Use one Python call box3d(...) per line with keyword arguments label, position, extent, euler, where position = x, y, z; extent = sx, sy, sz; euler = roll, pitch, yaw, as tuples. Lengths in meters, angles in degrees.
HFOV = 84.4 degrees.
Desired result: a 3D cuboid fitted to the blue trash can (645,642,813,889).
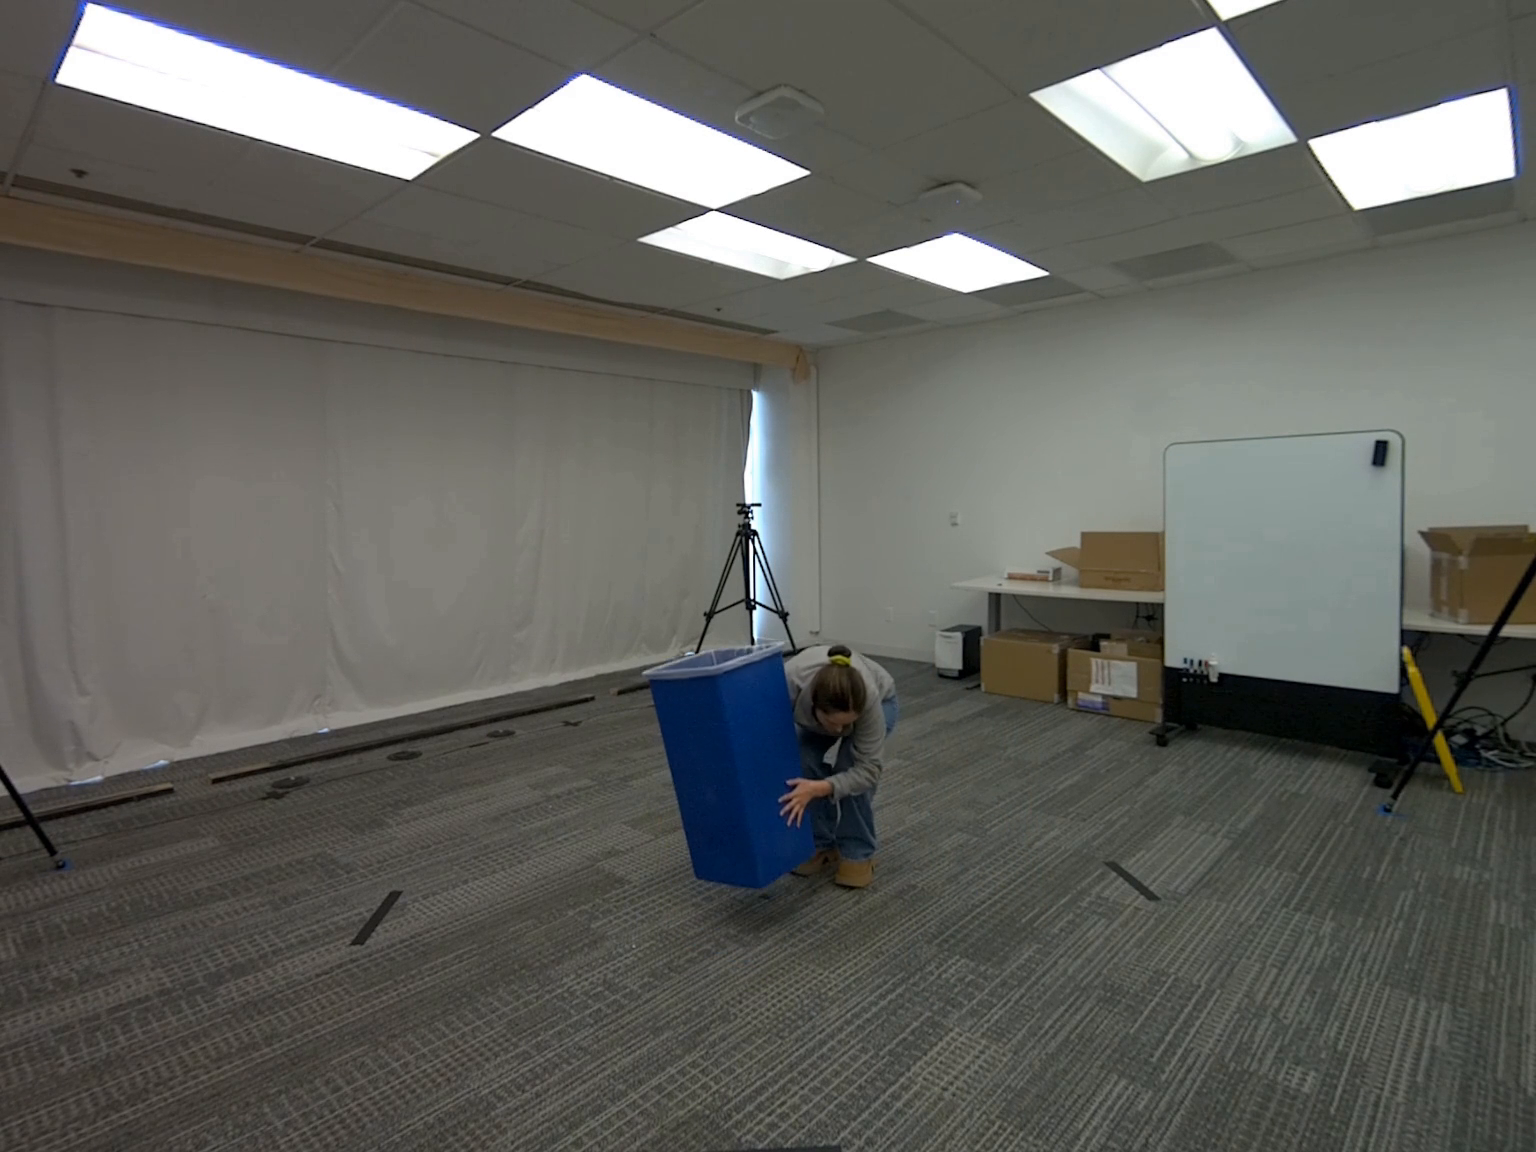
box3d(label="blue trash can", position=(-0.110, 0.612, 2.818), extent=(0.388, 0.714, 0.363), euler=(-12, -1, 41))
